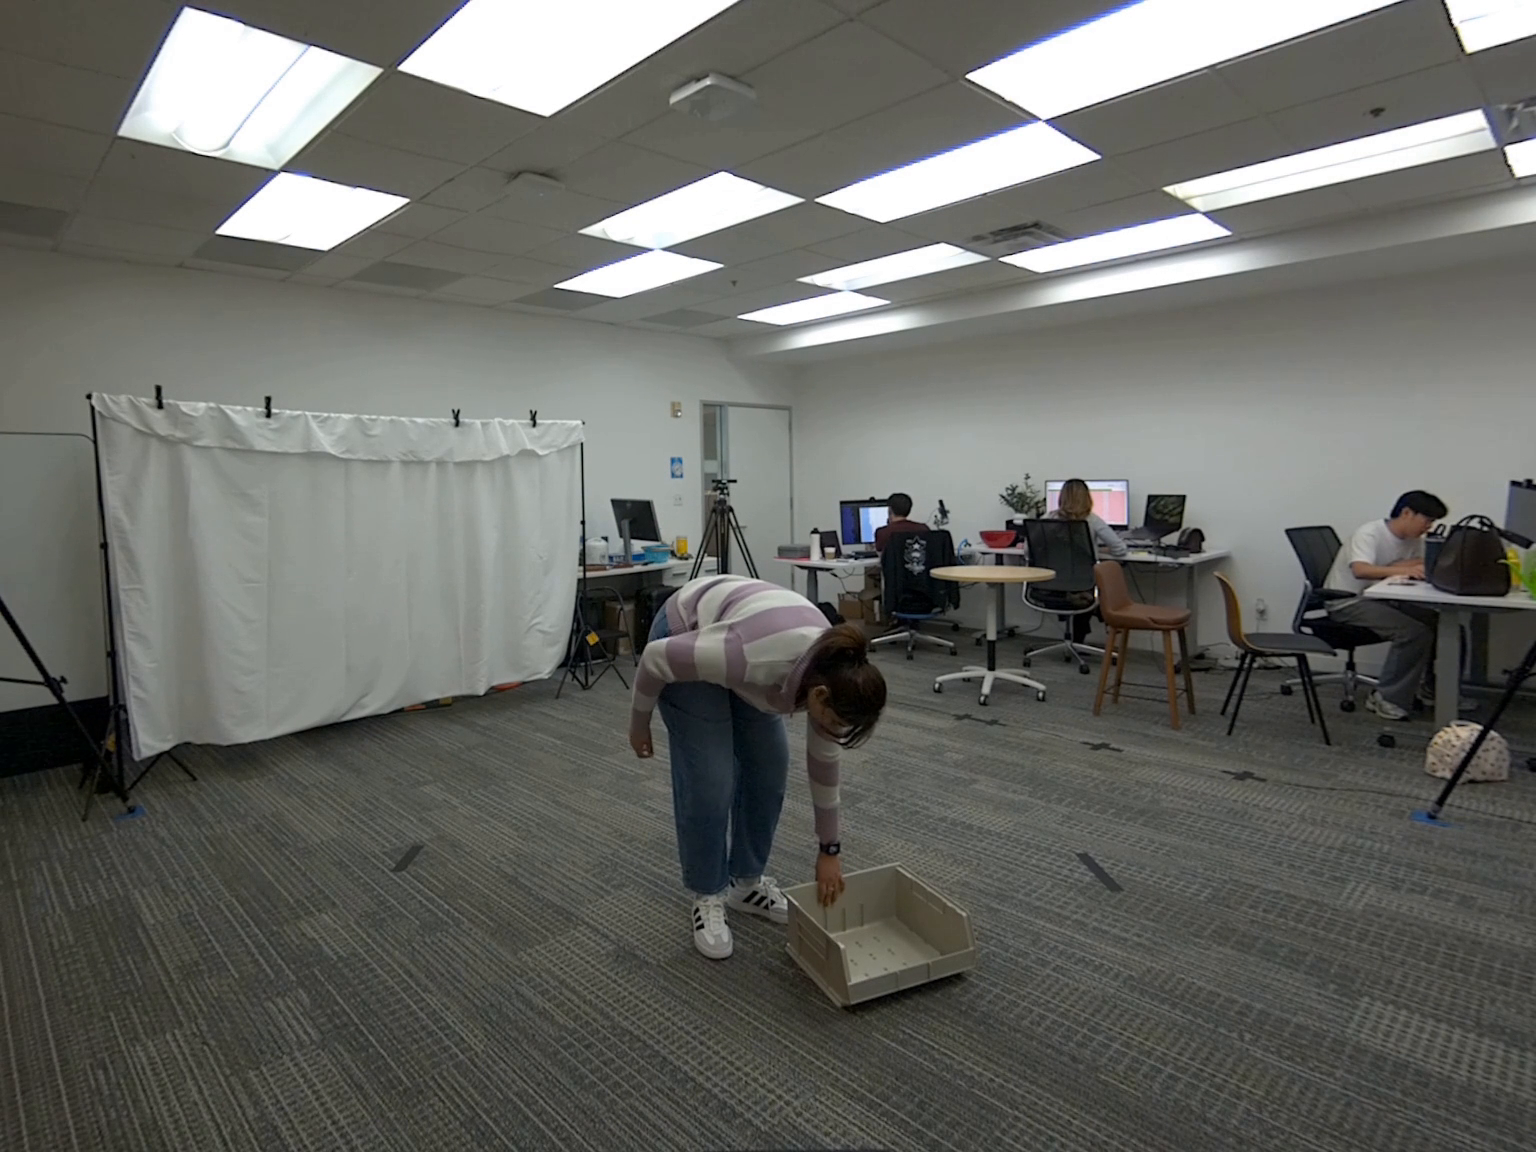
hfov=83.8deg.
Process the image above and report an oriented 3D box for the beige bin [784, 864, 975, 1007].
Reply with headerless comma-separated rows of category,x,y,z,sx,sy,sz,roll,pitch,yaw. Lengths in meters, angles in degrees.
beige bin,0.314,1.025,2.453,0.414,0.188,0.386,-5,5,-25
